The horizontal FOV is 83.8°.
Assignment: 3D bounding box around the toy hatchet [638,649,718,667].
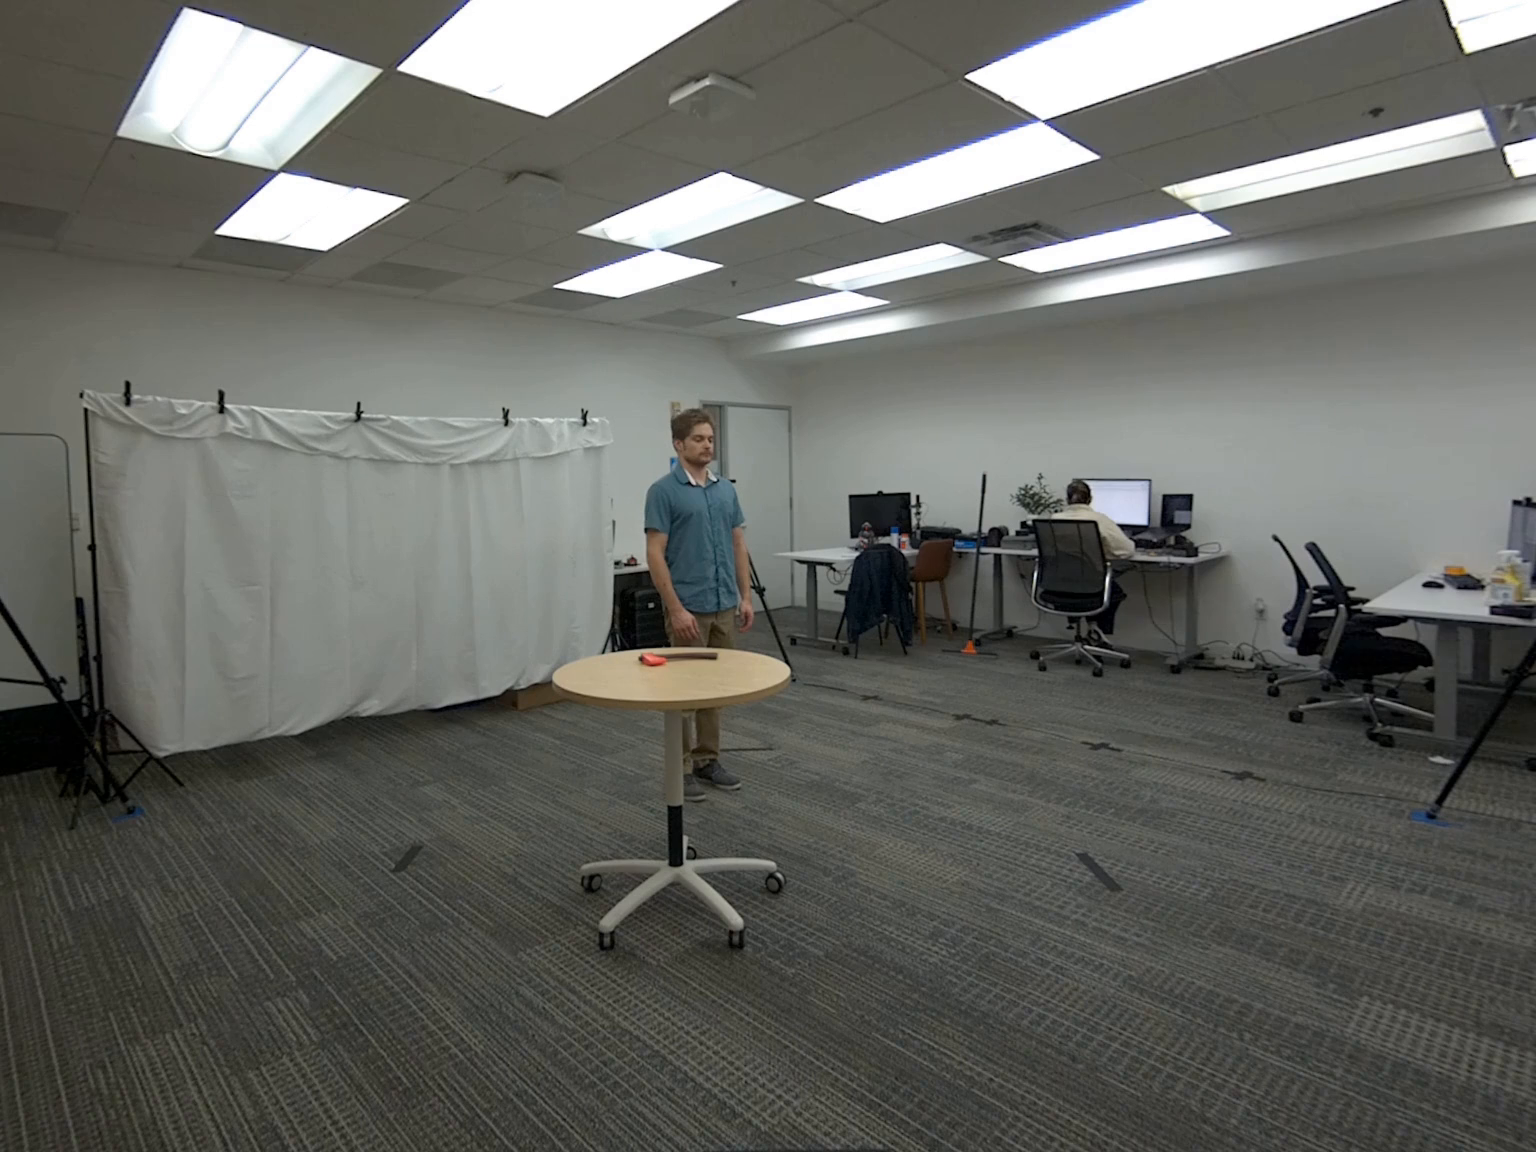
[{"bbox_3d":[-0.303,0.283,2.896,0.269,0.029,0.132,0,7,-2],"label":"toy hatchet"}]
